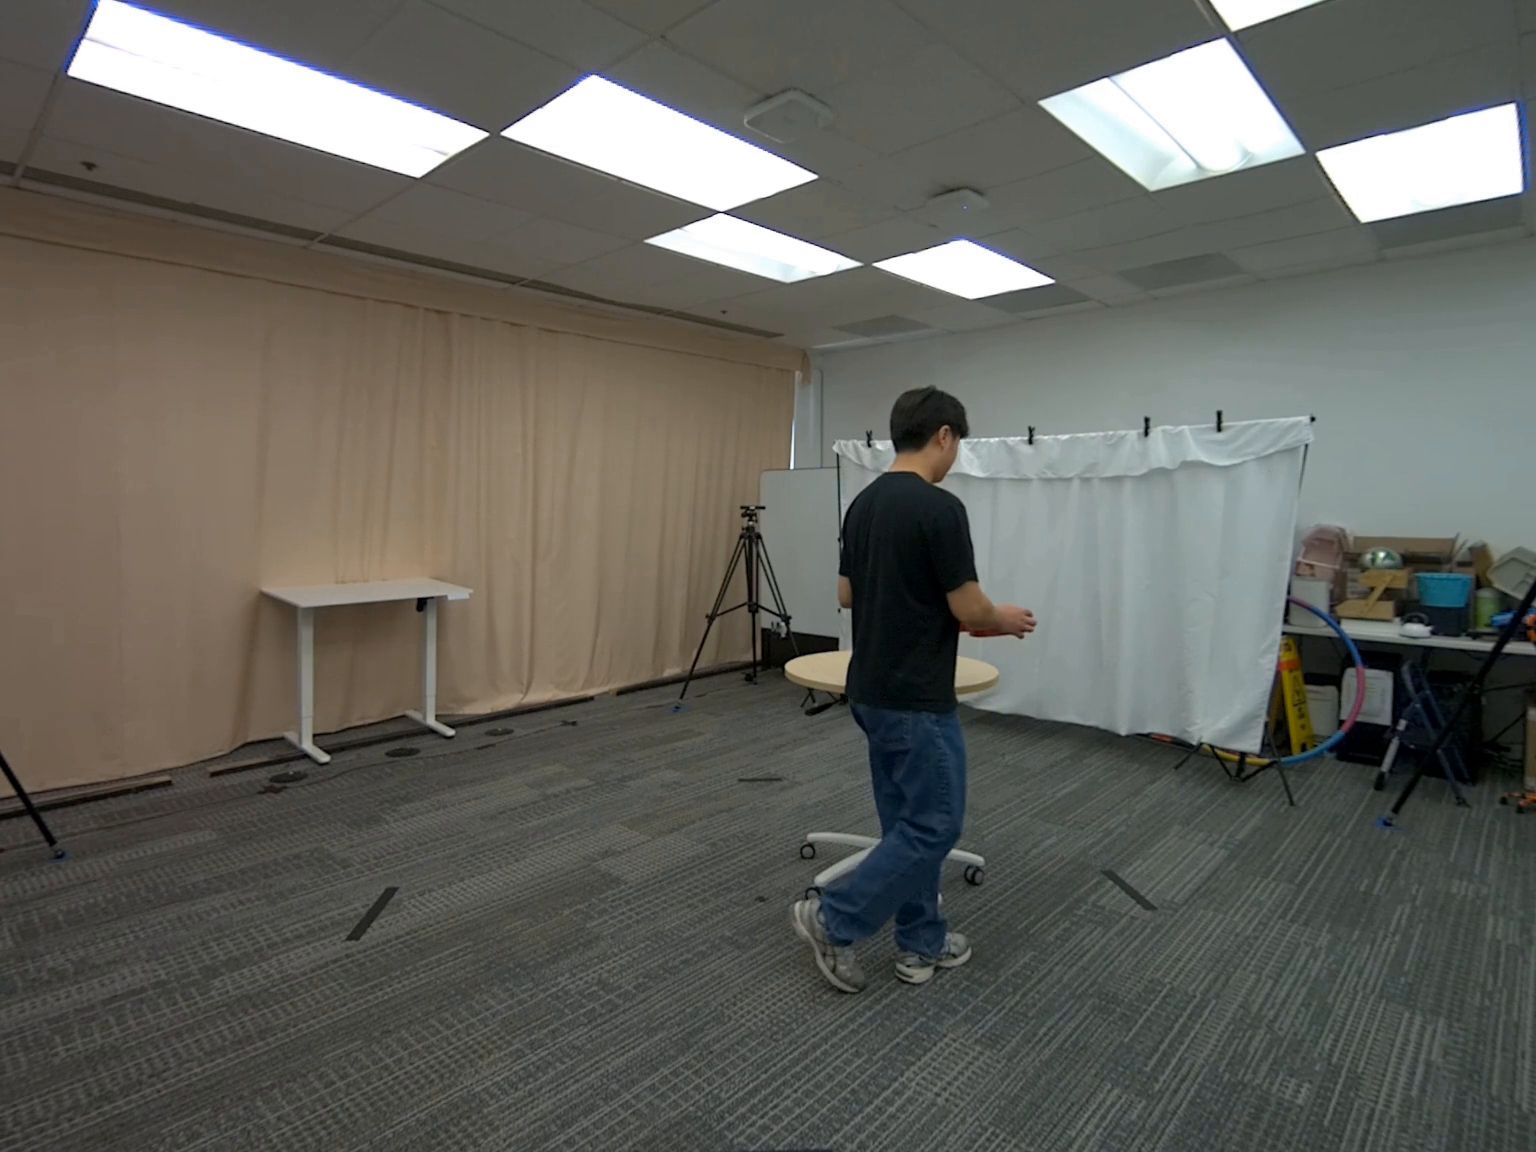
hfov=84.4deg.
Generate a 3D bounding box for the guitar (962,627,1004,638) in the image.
[{"bbox_3d":[0.701,0.136,2.743,0.193,0.070,0.498,-6,2,-2],"label":"guitar"}]
